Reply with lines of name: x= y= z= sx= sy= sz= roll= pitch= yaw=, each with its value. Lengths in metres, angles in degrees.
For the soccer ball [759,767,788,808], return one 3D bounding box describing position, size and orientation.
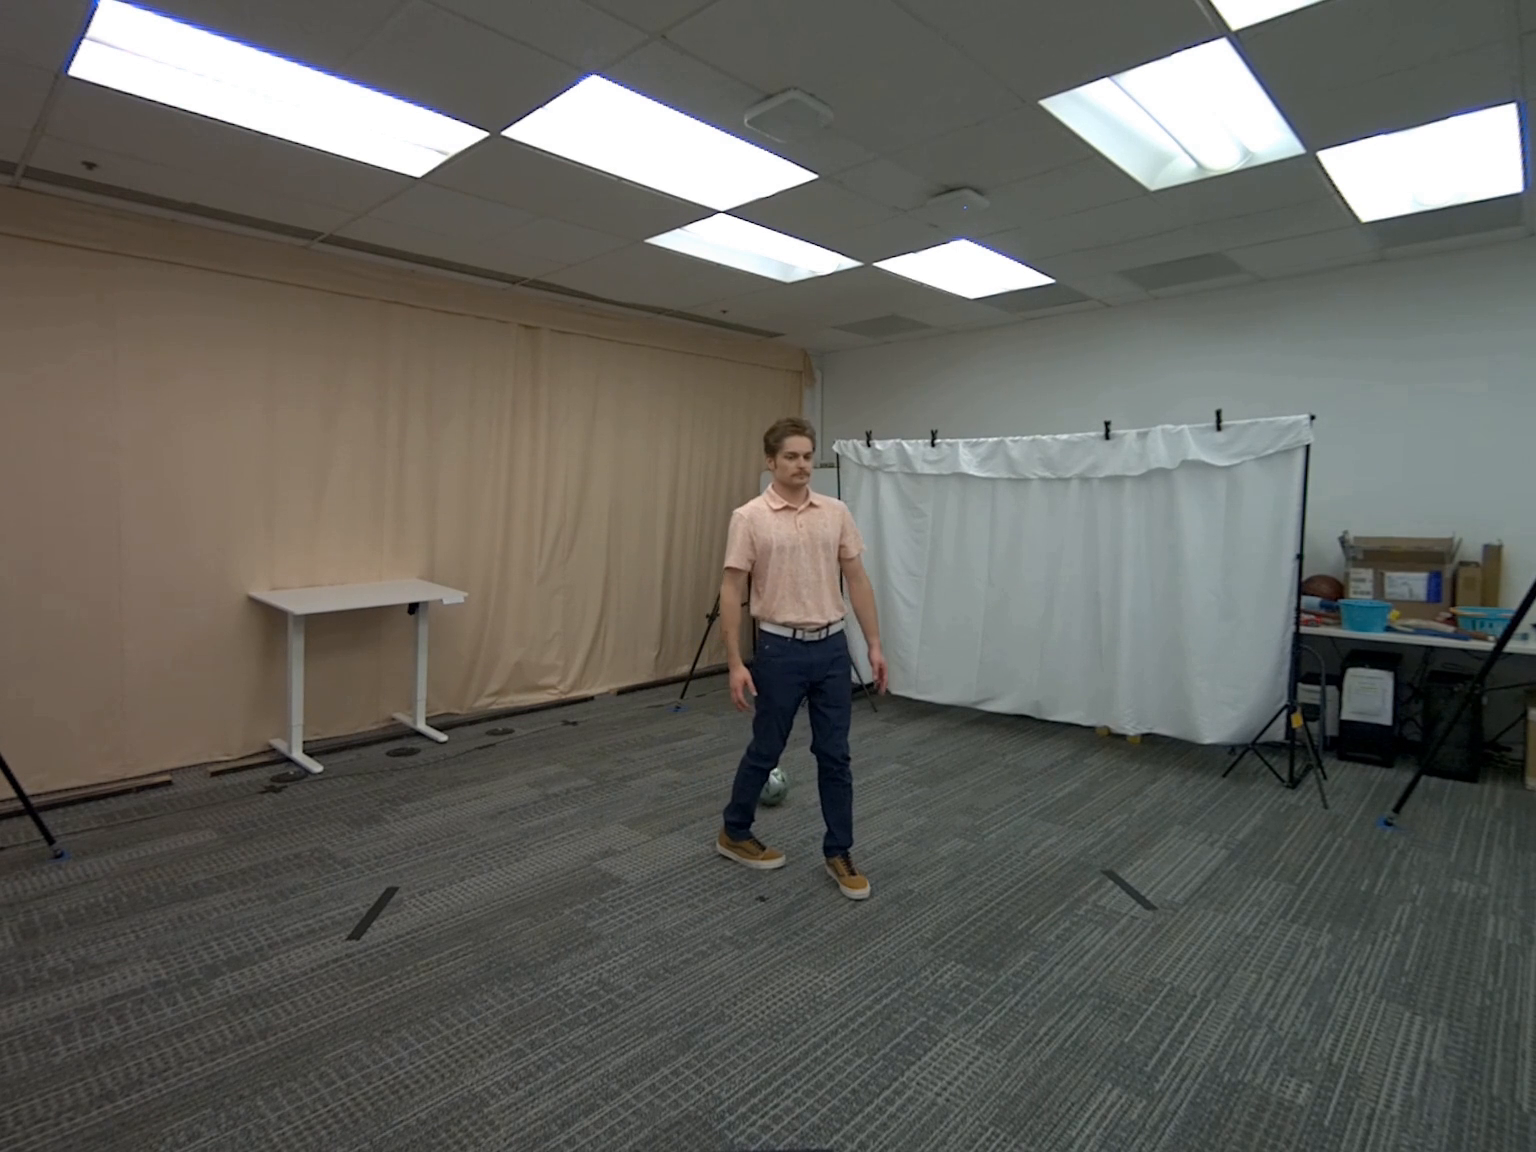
soccer ball: x=0.008 y=0.977 z=3.945 sx=0.187 sy=0.187 sz=0.188 roll=0 pitch=4 yaw=-2
